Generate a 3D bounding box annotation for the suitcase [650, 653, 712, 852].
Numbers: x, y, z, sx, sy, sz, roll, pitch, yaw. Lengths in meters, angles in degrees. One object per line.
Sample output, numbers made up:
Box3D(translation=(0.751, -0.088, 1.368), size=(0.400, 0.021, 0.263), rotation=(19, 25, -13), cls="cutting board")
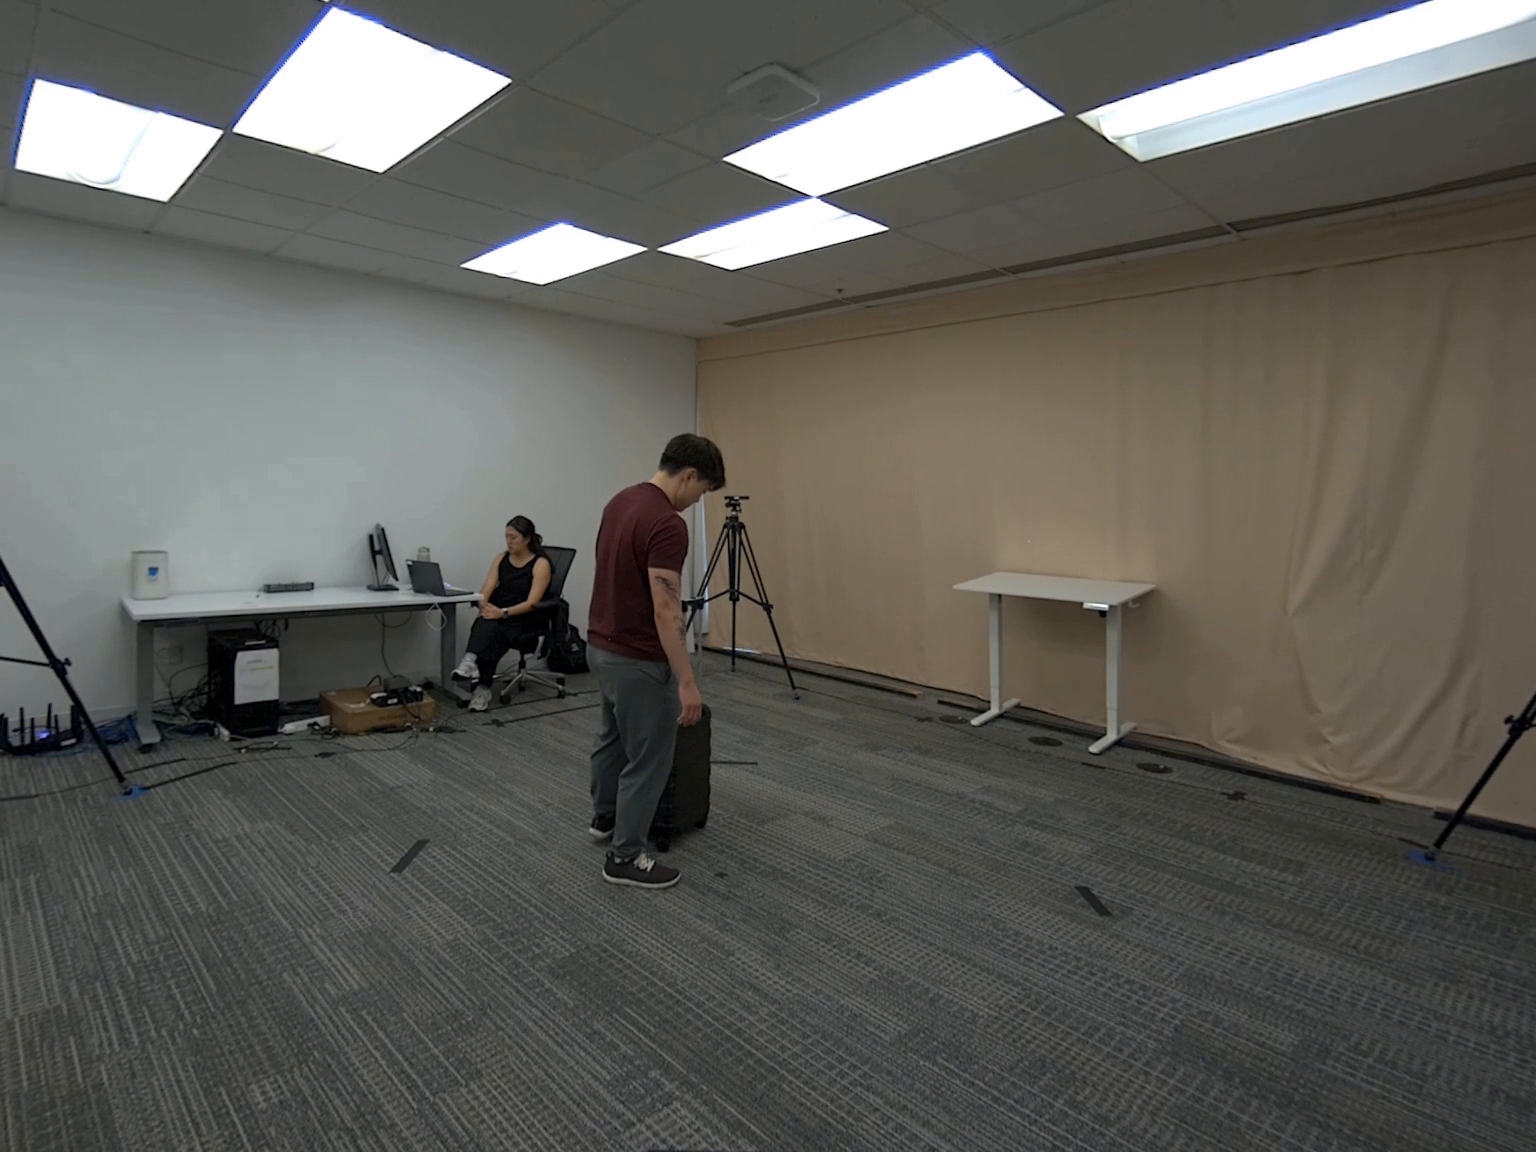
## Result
Box3D(translation=(-0.419, 0.587, 3.453), size=(0.262, 0.976, 0.377), rotation=(2, 3, 25), cls="suitcase")
